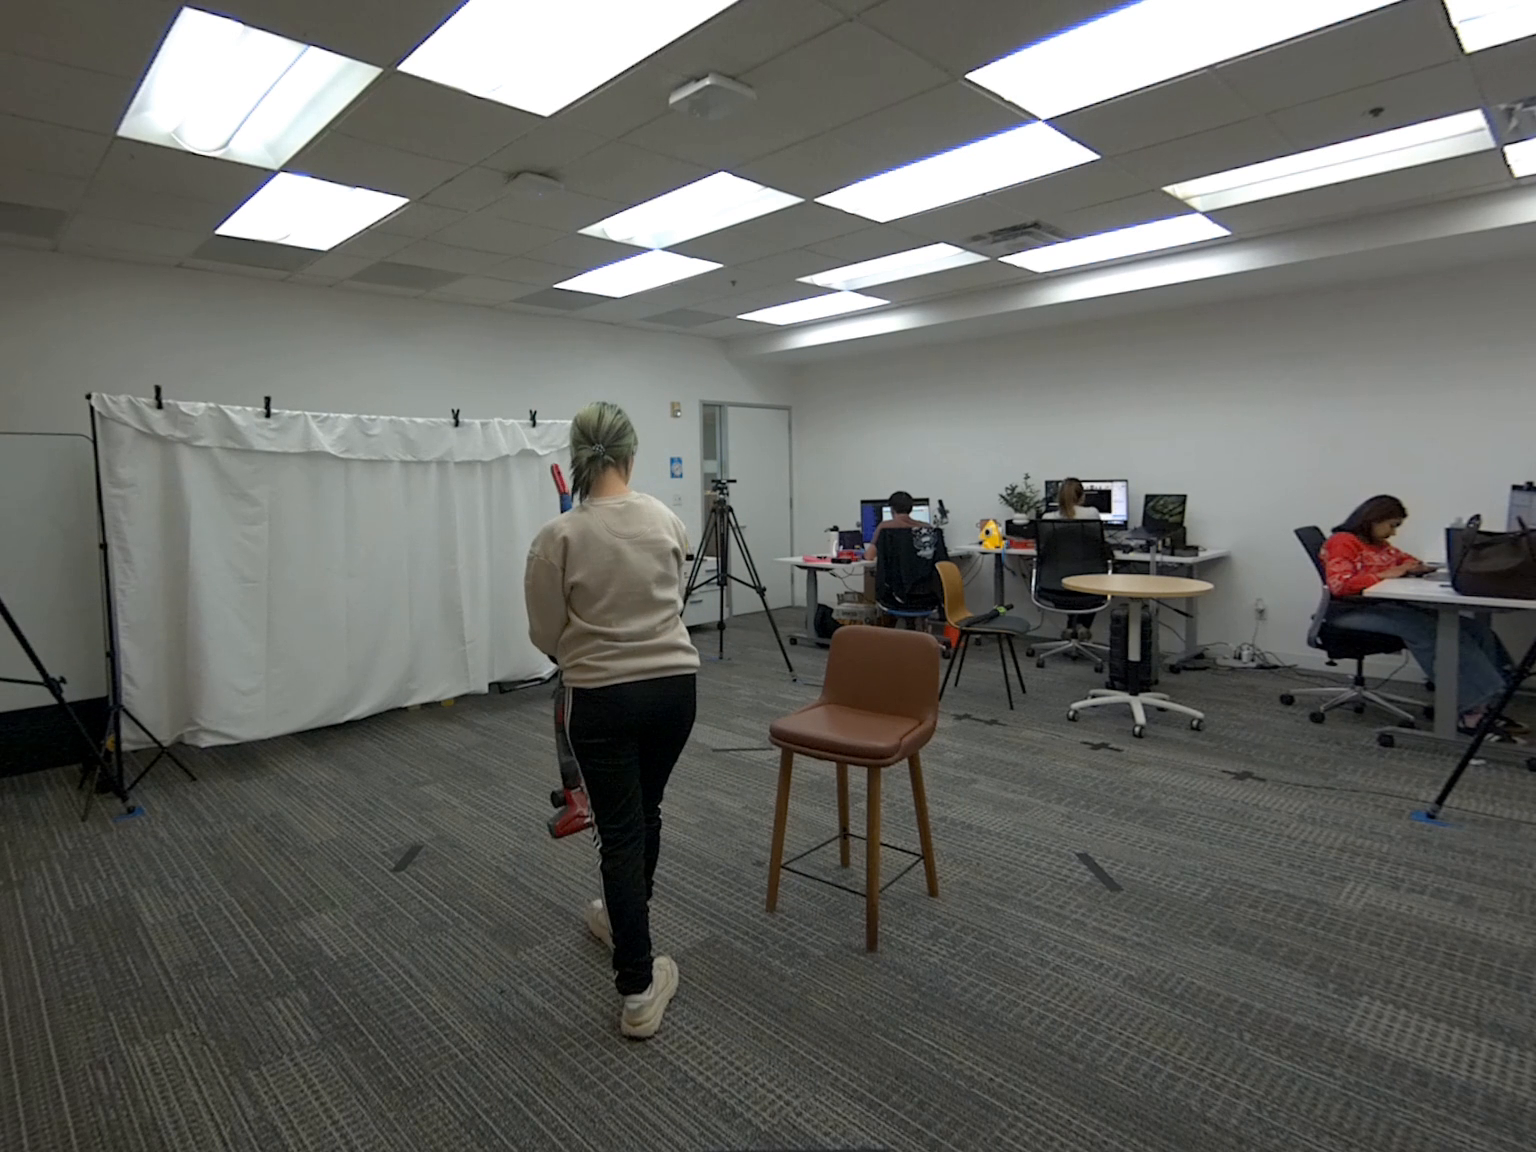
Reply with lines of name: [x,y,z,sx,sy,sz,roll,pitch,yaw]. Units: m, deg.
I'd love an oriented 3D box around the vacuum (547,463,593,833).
vacuum: [-0.617,0.187,2.621,0.246,1.050,0.148,-4,-1,-45]
